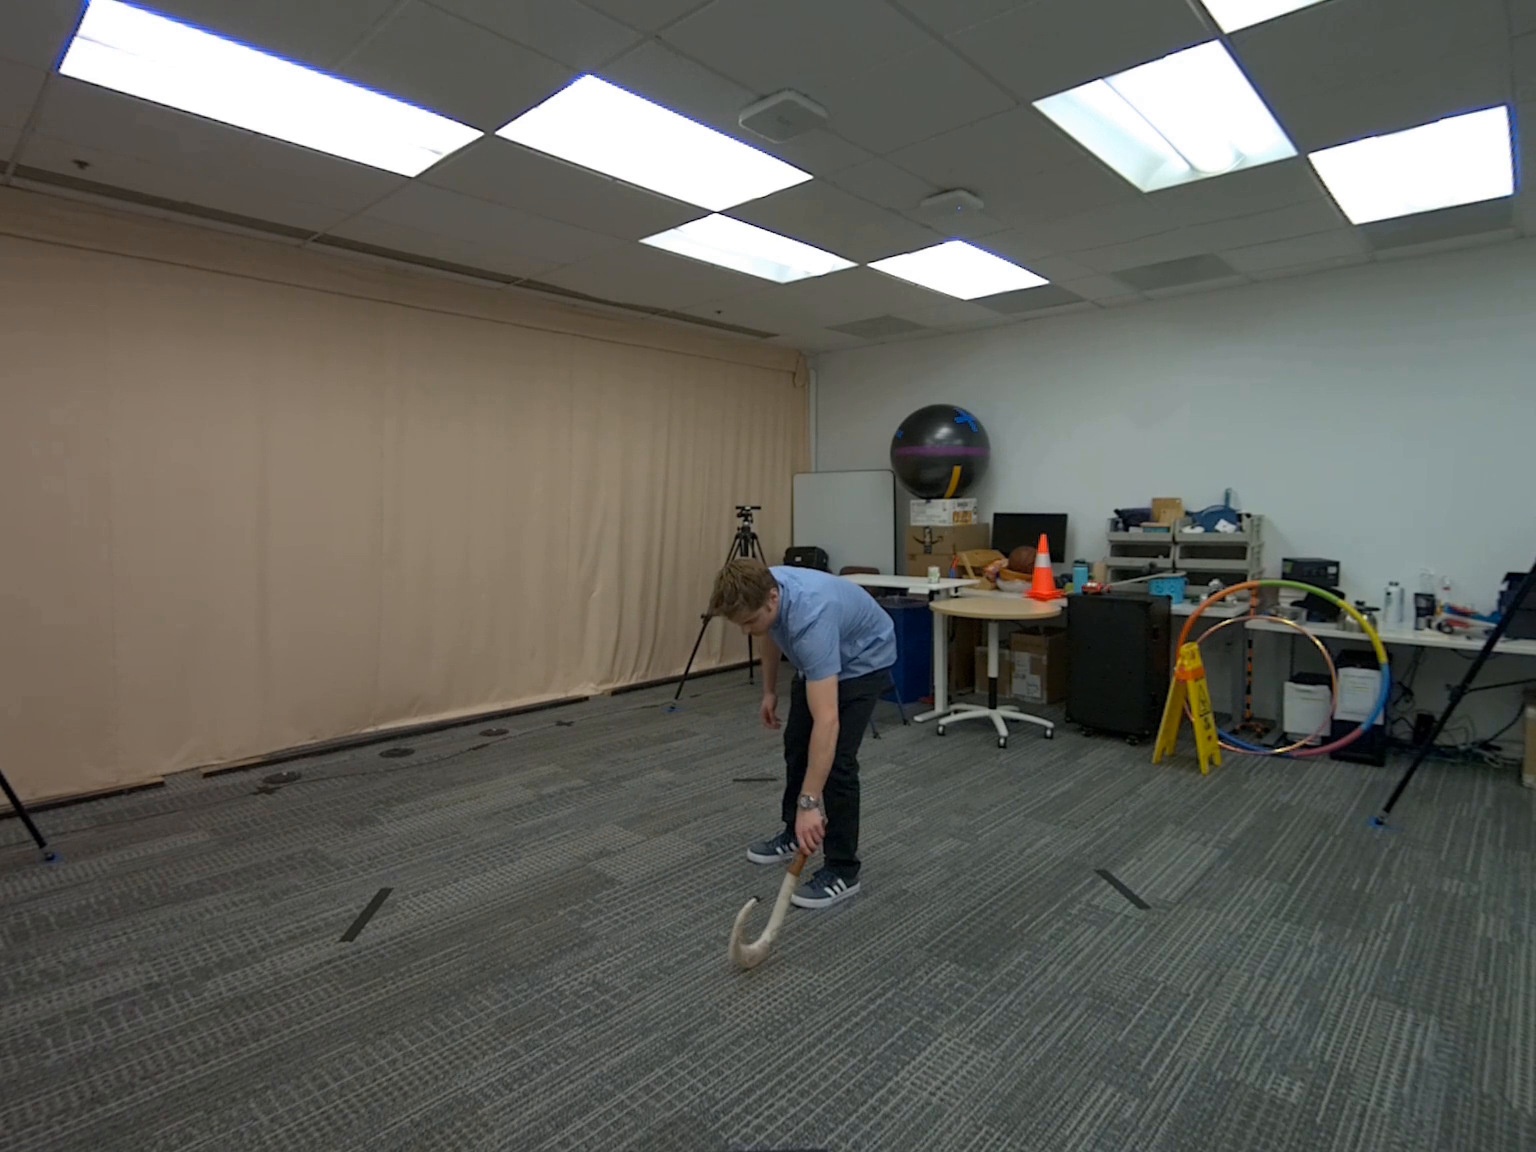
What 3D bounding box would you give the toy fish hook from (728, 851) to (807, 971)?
[{"bbox_3d":[0.026,0.946,2.561,0.050,0.507,0.217,16,-19,38],"label":"toy fish hook"}]
